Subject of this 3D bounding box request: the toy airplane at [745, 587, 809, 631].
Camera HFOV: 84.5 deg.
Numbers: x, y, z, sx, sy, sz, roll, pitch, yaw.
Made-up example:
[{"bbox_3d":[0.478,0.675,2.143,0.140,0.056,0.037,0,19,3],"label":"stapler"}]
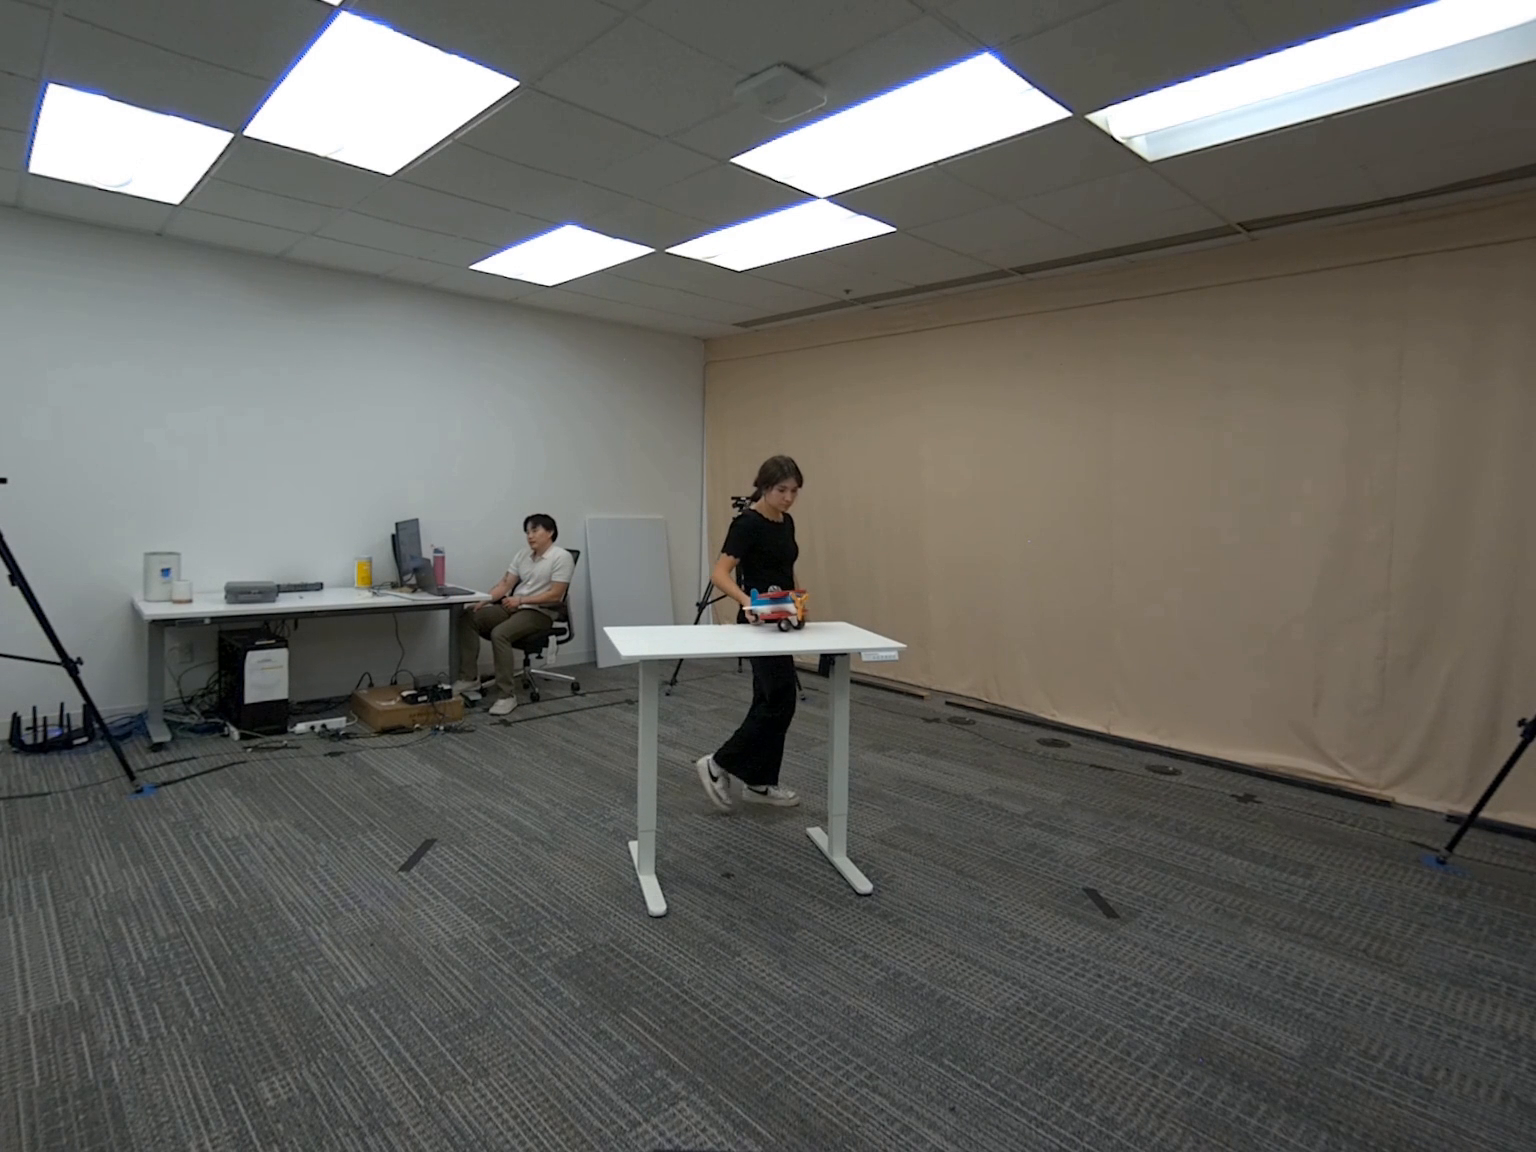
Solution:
[{"bbox_3d":[0.009,0.126,3.297,0.262,0.156,0.249,7,7,13],"label":"toy airplane"}]
